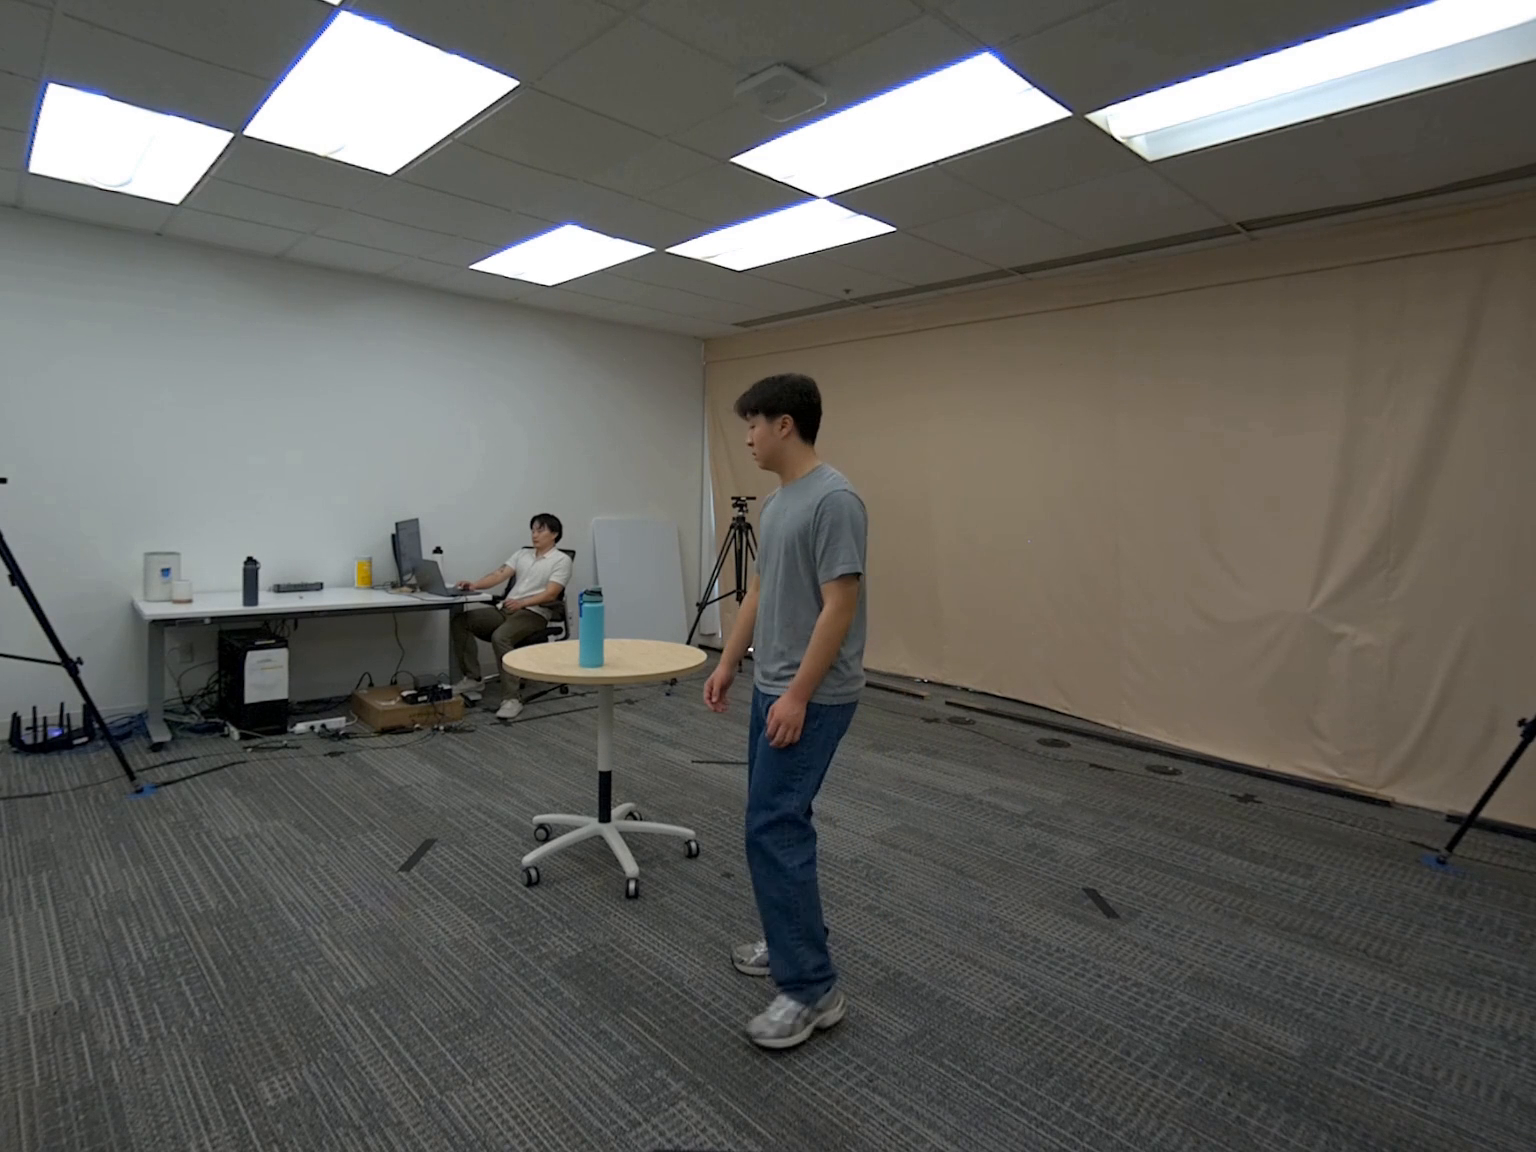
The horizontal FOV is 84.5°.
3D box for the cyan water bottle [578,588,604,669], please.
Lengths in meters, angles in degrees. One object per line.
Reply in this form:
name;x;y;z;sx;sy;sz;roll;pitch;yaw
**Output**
cyan water bottle;-0.641;0.183;2.995;0.092;0.282;0.092;0;4;-1
